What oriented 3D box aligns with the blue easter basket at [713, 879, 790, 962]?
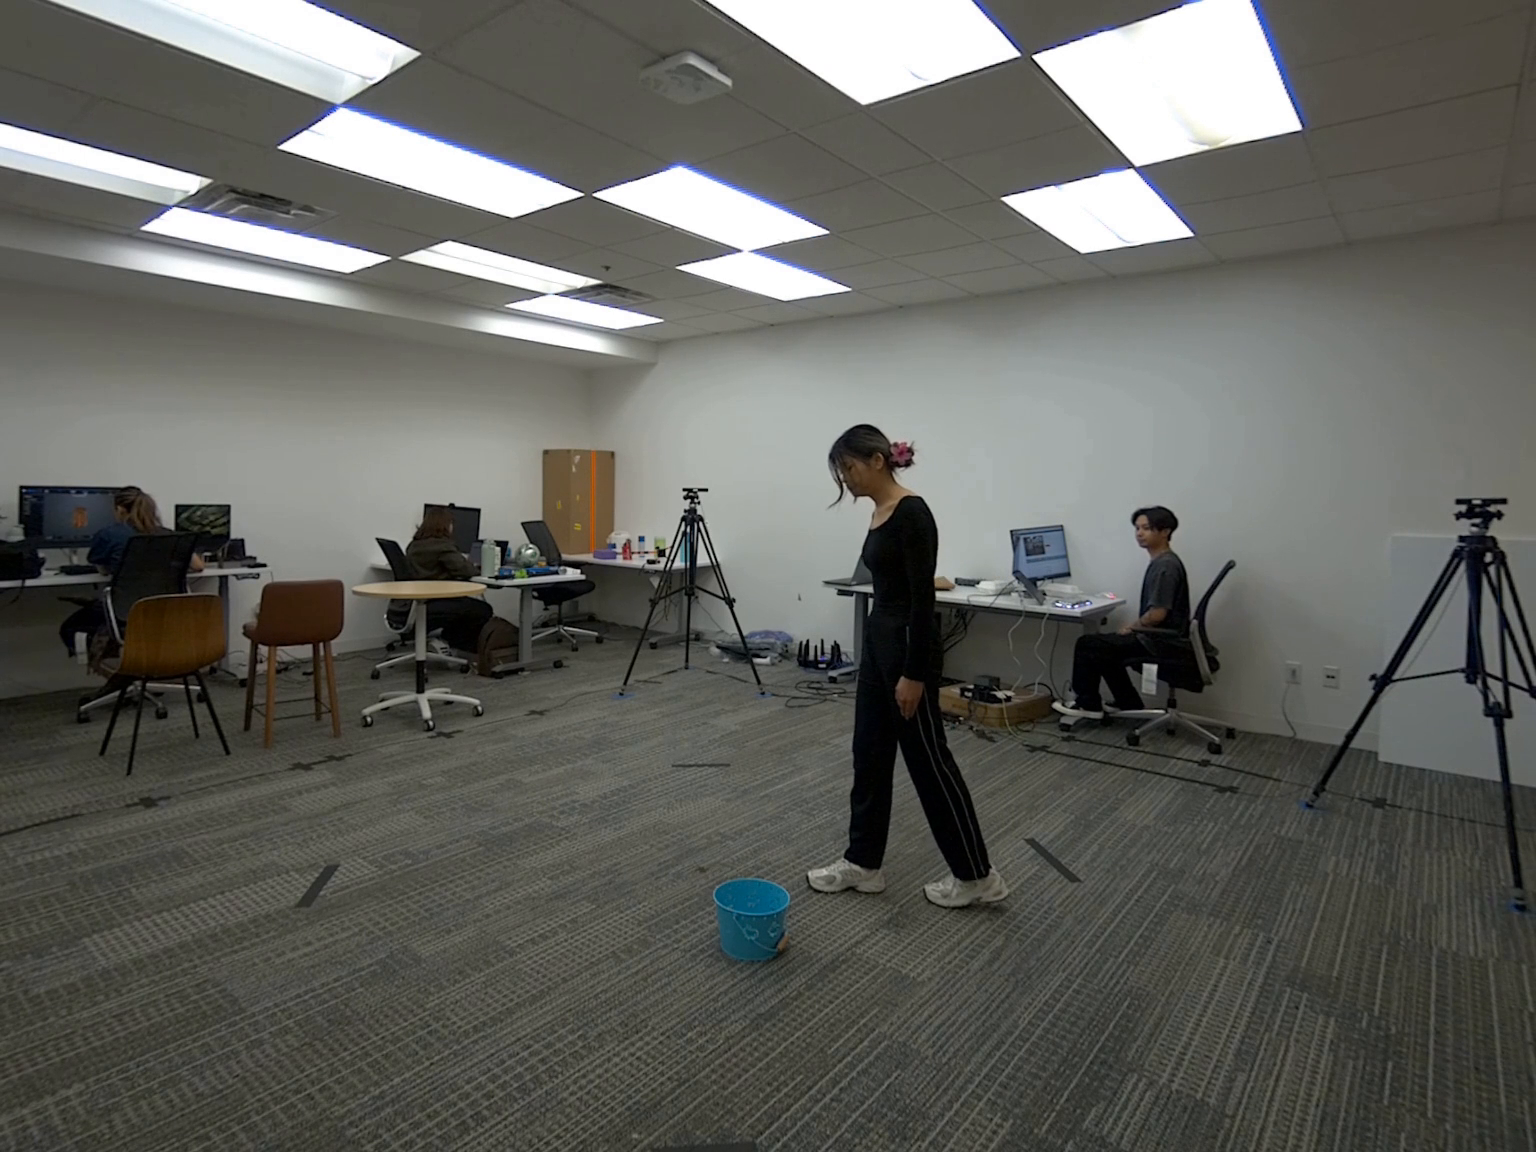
[{"bbox_3d":[-0.059,1.047,2.590,0.243,0.155,0.245,0,5,-2],"label":"blue easter basket"}]
